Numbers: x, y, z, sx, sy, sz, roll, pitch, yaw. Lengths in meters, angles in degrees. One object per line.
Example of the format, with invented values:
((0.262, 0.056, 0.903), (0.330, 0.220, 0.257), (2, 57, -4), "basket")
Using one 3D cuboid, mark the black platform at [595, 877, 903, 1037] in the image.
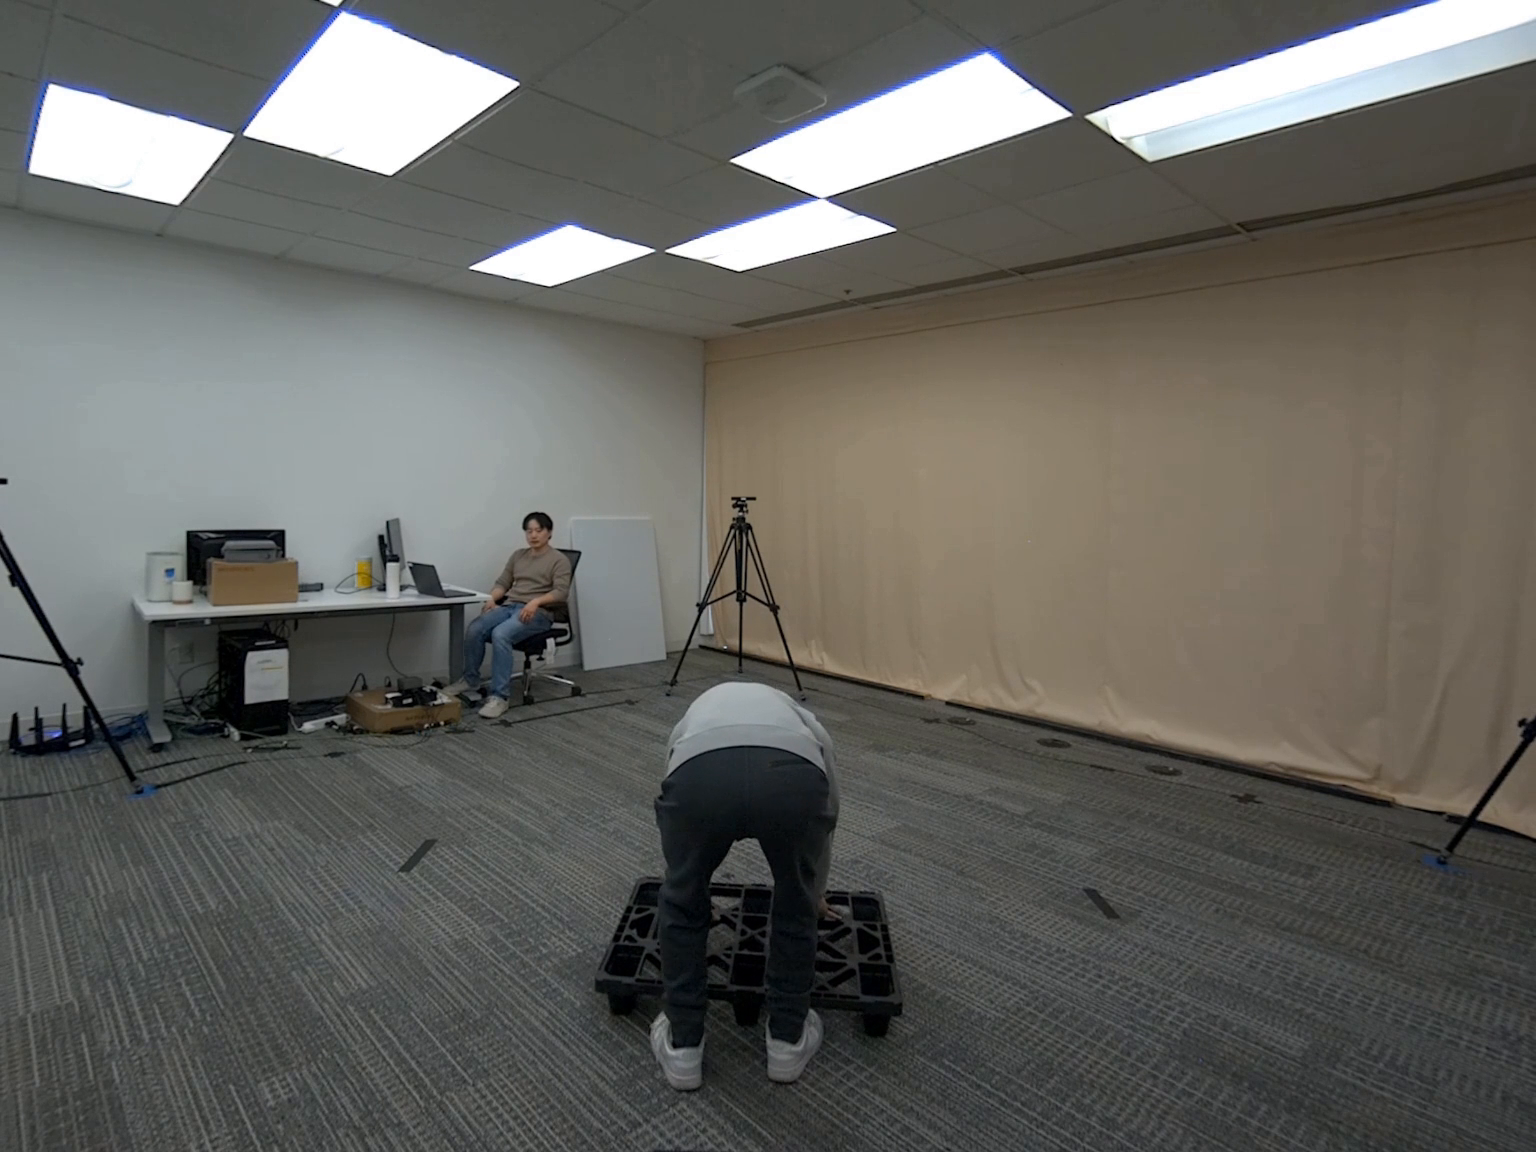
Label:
((-0.048, 1.102, 2.447), (0.809, 0.143, 0.605), (2, 6, 5), "black platform")
